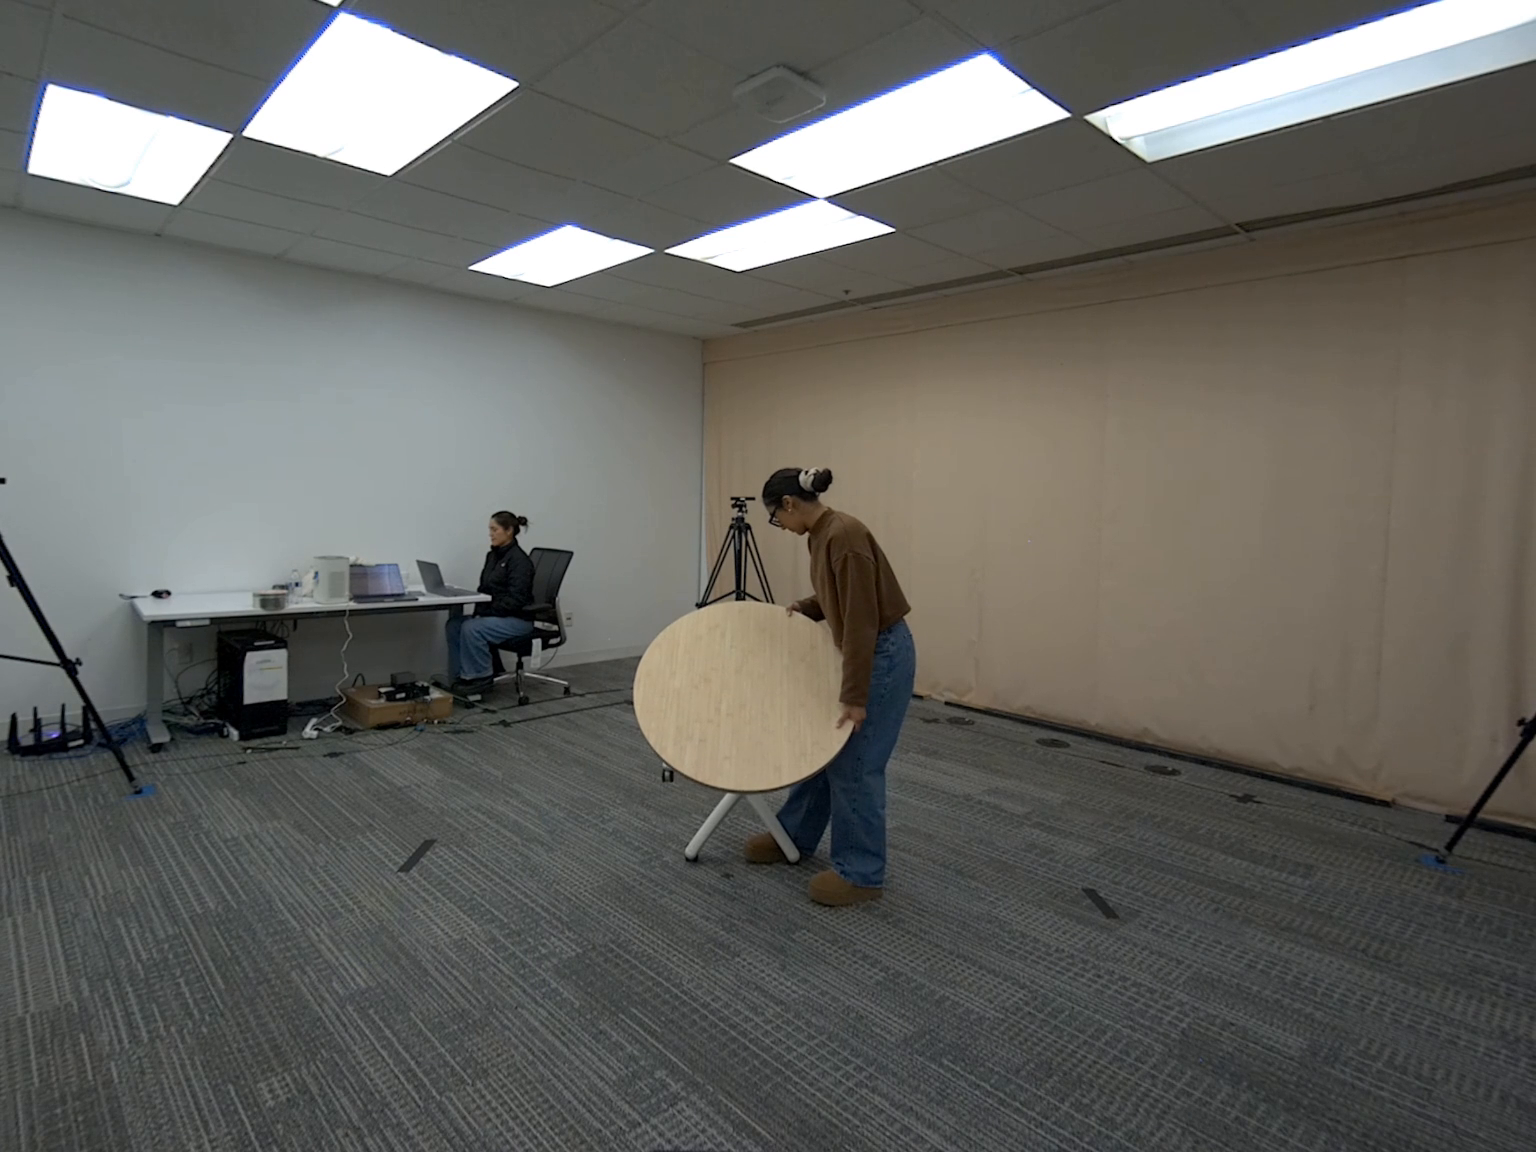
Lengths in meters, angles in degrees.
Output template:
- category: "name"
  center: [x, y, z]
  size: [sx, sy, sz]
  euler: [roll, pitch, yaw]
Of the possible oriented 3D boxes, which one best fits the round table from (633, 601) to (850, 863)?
- category: "round table"
  center: [-0.092, 0.644, 3.147]
  size: [0.763, 0.777, 0.781]
  euler: [0, 46, -1]
